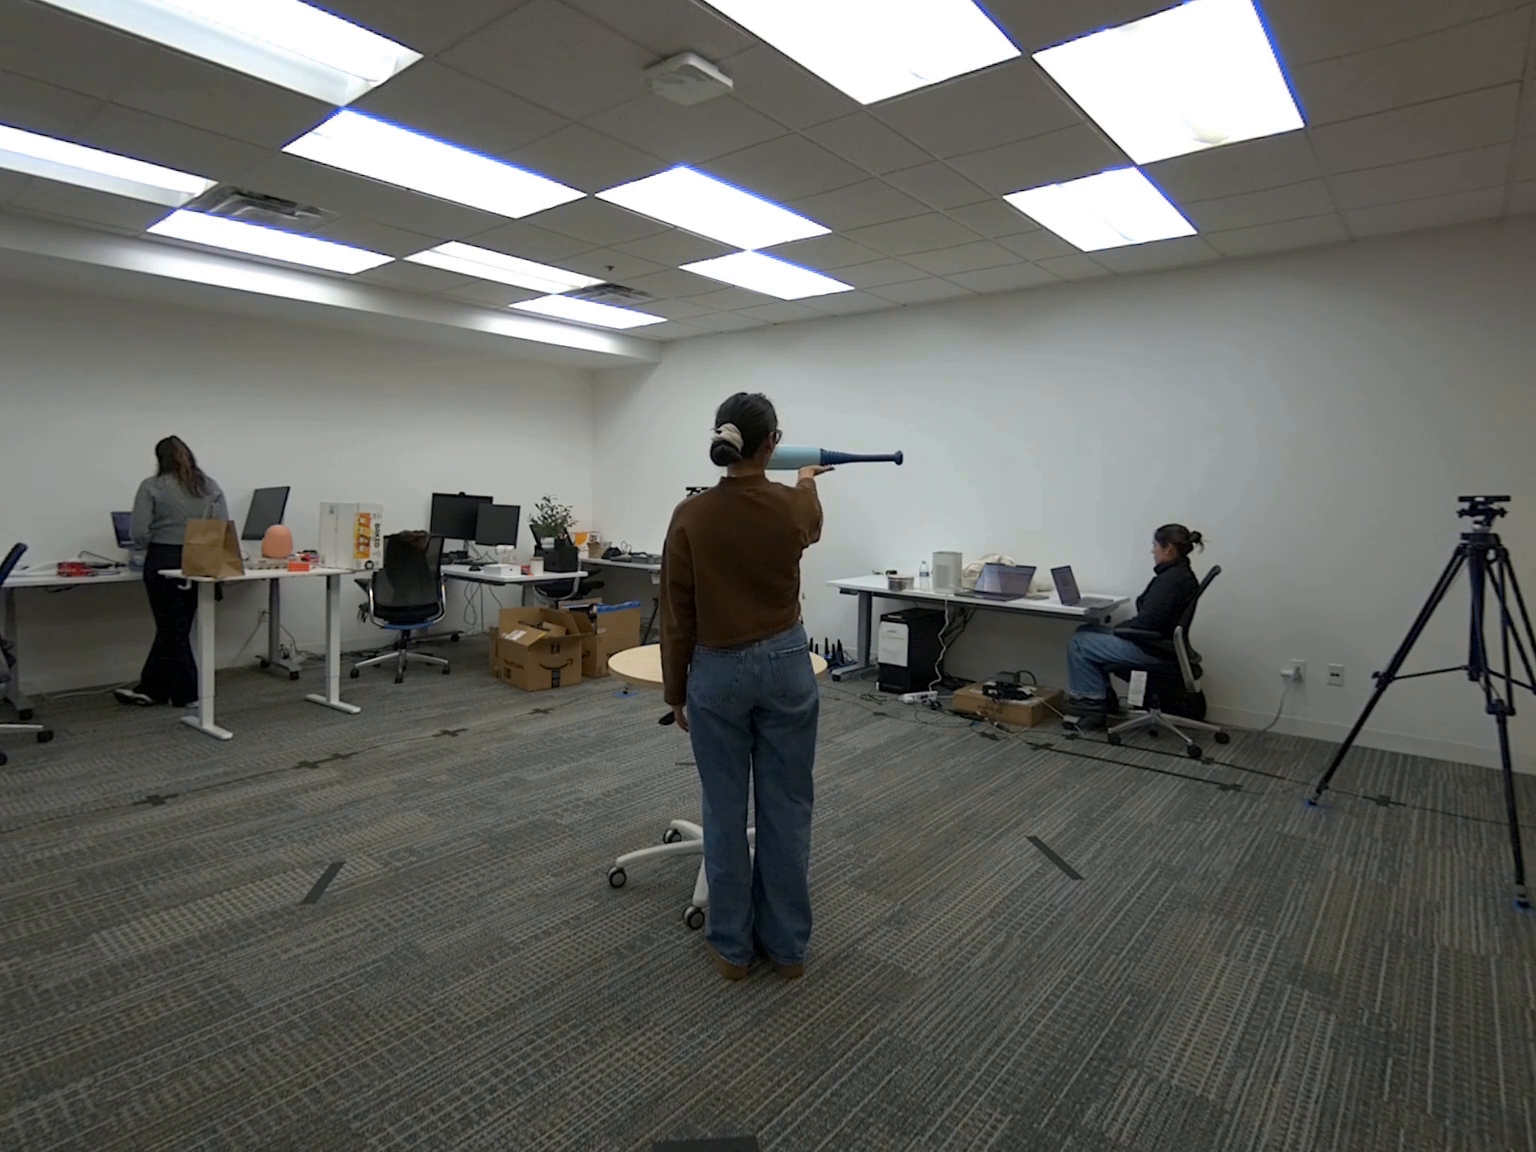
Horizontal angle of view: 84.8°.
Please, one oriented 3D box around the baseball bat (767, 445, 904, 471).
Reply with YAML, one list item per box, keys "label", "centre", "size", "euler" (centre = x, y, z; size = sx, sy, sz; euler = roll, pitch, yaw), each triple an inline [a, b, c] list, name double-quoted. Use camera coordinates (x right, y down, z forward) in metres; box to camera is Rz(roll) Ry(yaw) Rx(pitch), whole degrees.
- label: "baseball bat"
  centre: [0.194, -0.415, 2.979]
  size: [0.543, 0.089, 0.089]
  euler: [0, 4, -1]
